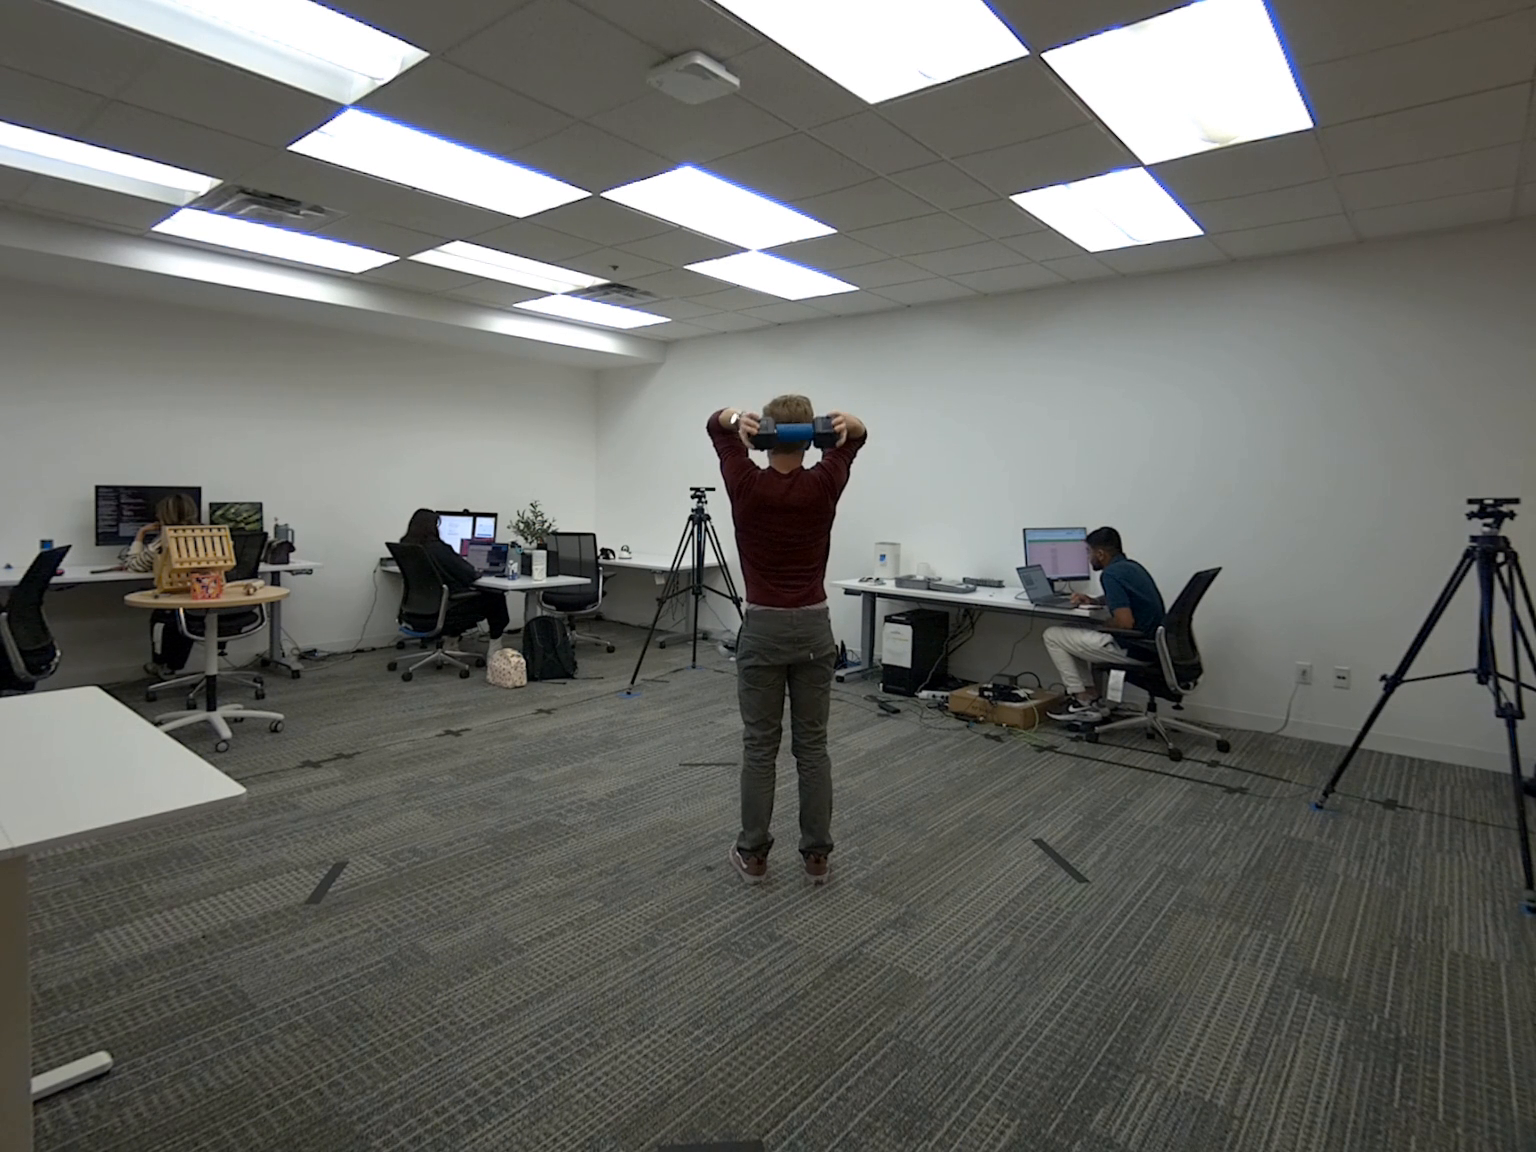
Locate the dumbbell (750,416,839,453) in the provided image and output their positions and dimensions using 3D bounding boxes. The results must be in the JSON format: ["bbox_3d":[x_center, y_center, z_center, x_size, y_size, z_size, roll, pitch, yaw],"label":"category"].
[{"bbox_3d":[0.074,-0.494,2.852,0.294,0.126,0.106,-1,-24,1],"label":"dumbbell"}]
